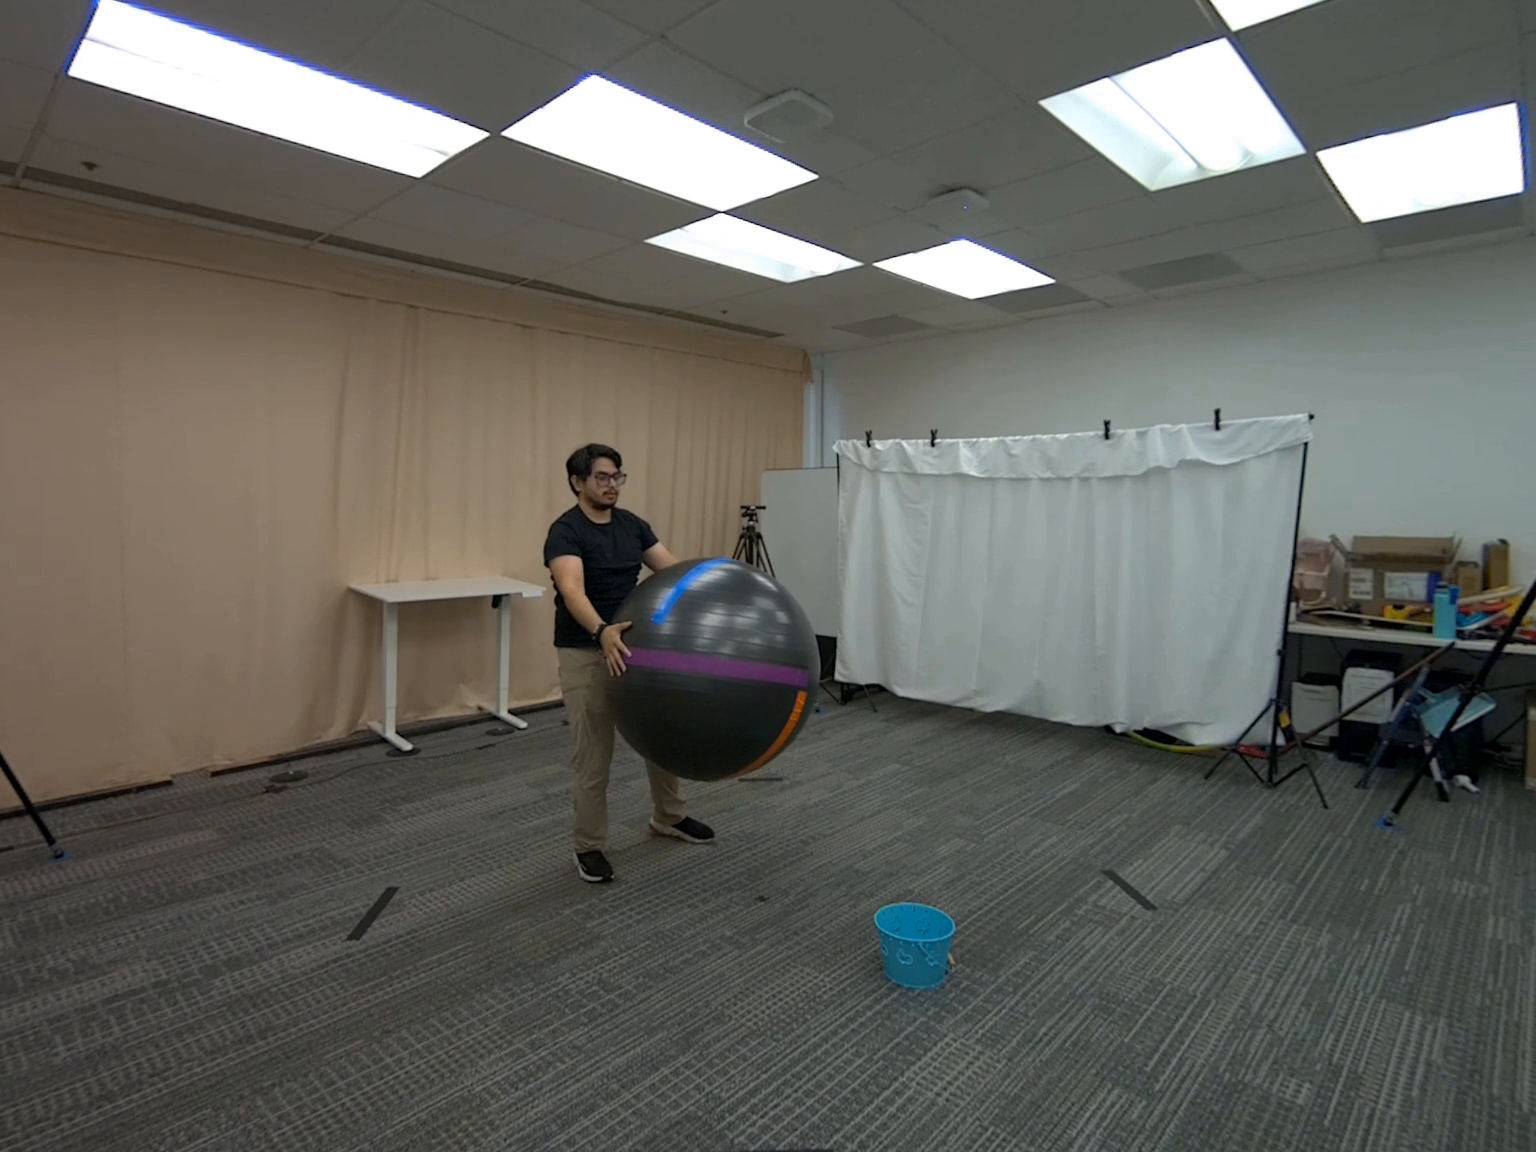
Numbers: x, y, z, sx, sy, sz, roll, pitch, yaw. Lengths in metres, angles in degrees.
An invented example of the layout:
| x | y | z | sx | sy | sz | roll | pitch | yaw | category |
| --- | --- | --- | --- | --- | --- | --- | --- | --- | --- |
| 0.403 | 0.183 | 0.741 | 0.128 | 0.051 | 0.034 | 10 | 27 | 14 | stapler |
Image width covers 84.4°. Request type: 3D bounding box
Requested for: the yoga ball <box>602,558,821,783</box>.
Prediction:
| x | y | z | sx | sy | sz | roll | pitch | yaw | category |
| --- | --- | --- | --- | --- | --- | --- | --- | --- | --- |
| -0.193 | 0.325 | 2.923 | 0.757 | 0.756 | 0.761 | 0 | 4 | -2 | yoga ball |
